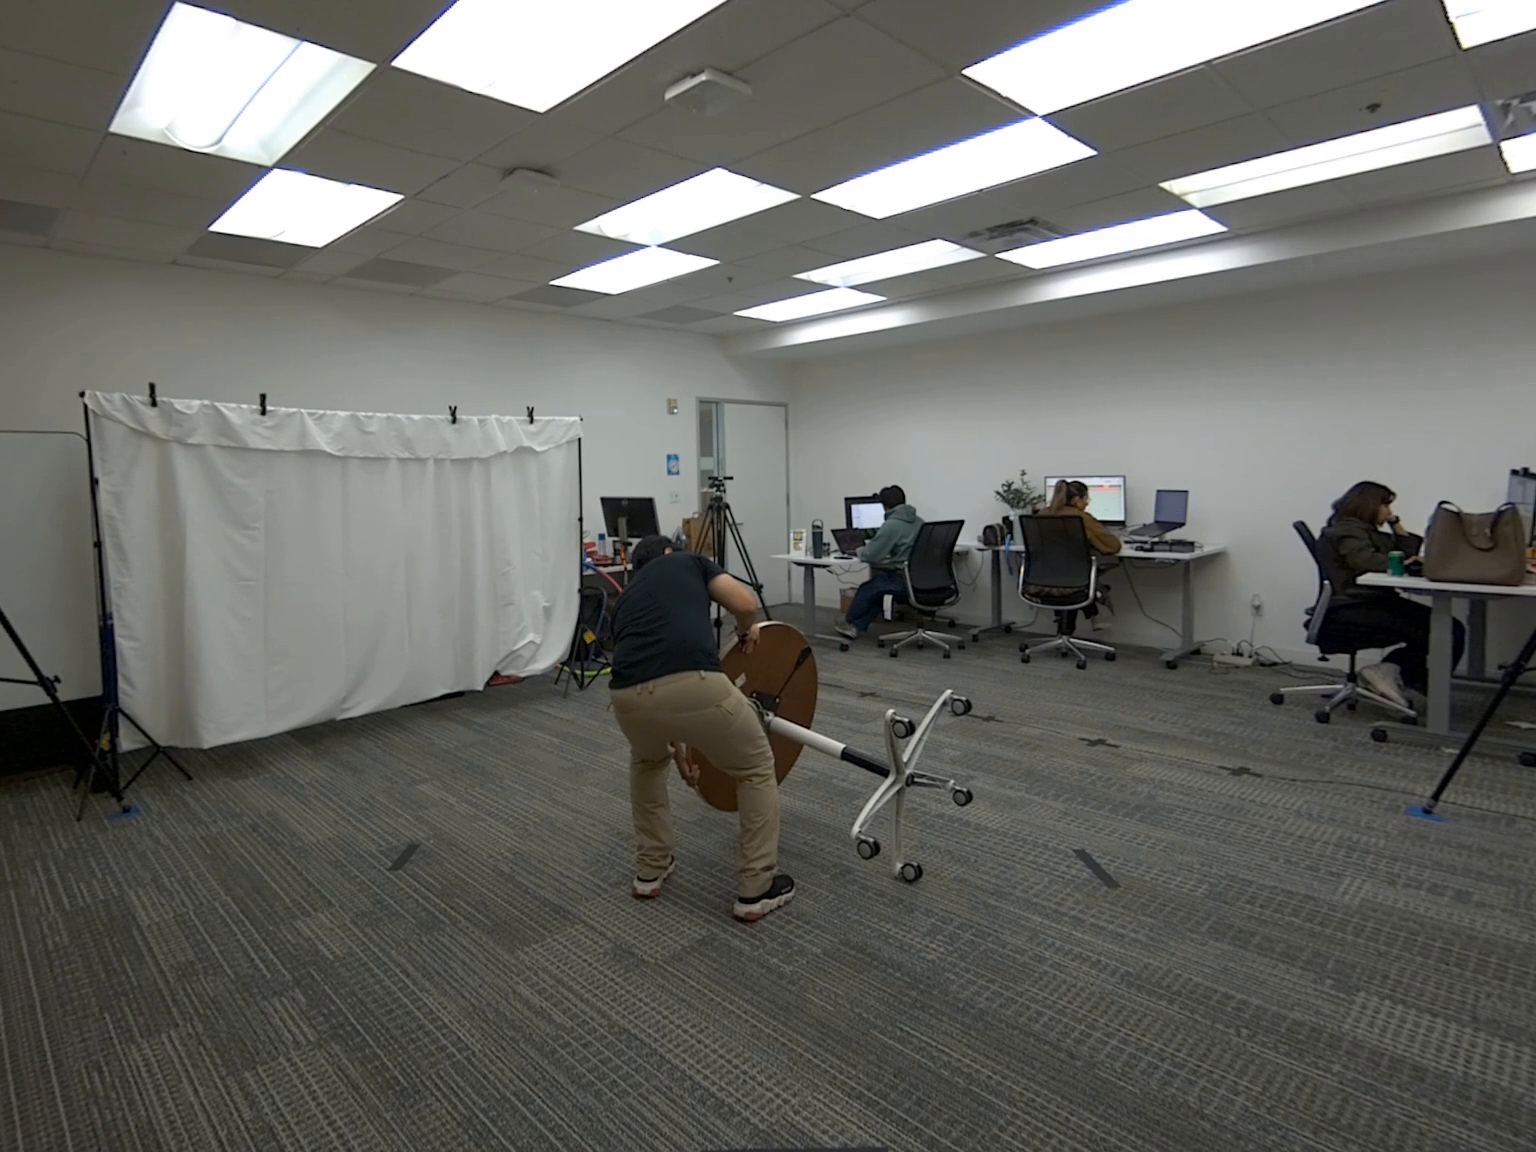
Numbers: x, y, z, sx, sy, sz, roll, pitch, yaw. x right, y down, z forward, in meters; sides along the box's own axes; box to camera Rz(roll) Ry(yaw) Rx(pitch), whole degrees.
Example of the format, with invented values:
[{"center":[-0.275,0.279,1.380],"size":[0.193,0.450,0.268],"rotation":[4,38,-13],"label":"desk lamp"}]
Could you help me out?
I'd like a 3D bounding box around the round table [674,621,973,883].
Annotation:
[{"center":[0.251,0.625,3.132],"size":[0.813,0.779,0.765],"rotation":[14,13,39],"label":"round table"}]
